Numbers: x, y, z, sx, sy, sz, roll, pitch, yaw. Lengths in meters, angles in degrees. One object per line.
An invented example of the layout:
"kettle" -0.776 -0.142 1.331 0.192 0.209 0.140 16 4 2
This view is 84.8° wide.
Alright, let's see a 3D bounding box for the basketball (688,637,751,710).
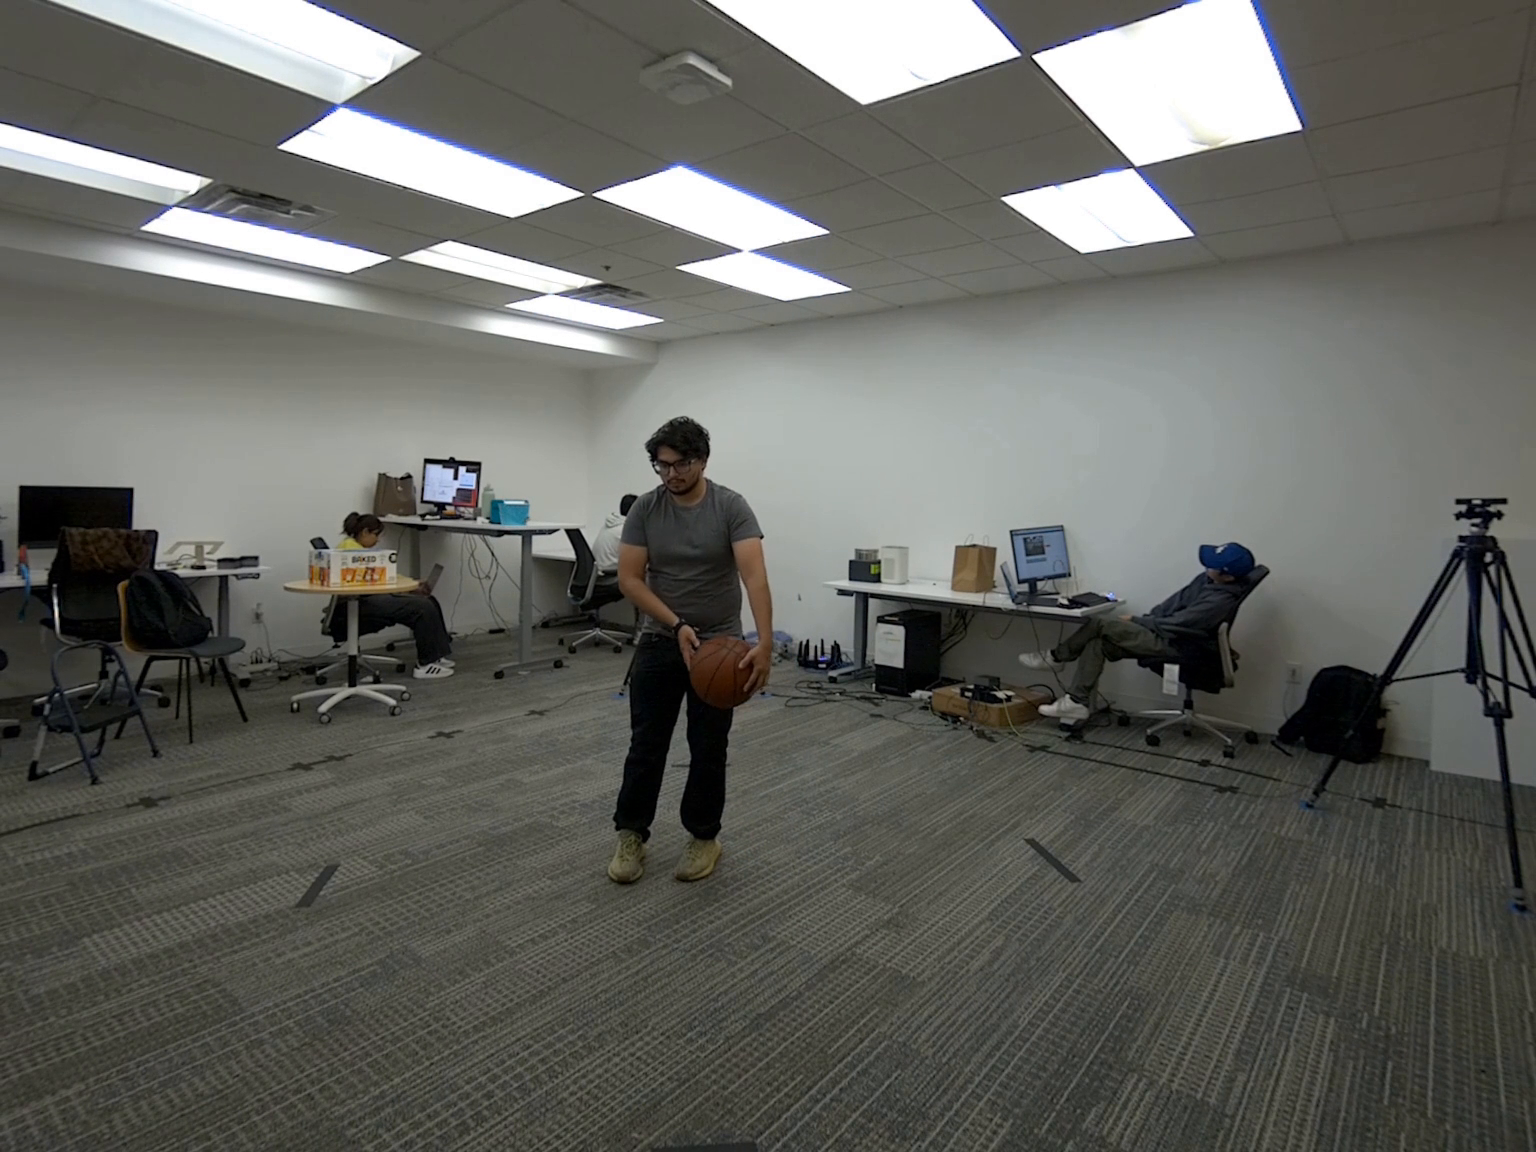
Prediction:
"basketball" -0.154 0.309 2.809 0.235 0.235 0.237 1 4 -2
